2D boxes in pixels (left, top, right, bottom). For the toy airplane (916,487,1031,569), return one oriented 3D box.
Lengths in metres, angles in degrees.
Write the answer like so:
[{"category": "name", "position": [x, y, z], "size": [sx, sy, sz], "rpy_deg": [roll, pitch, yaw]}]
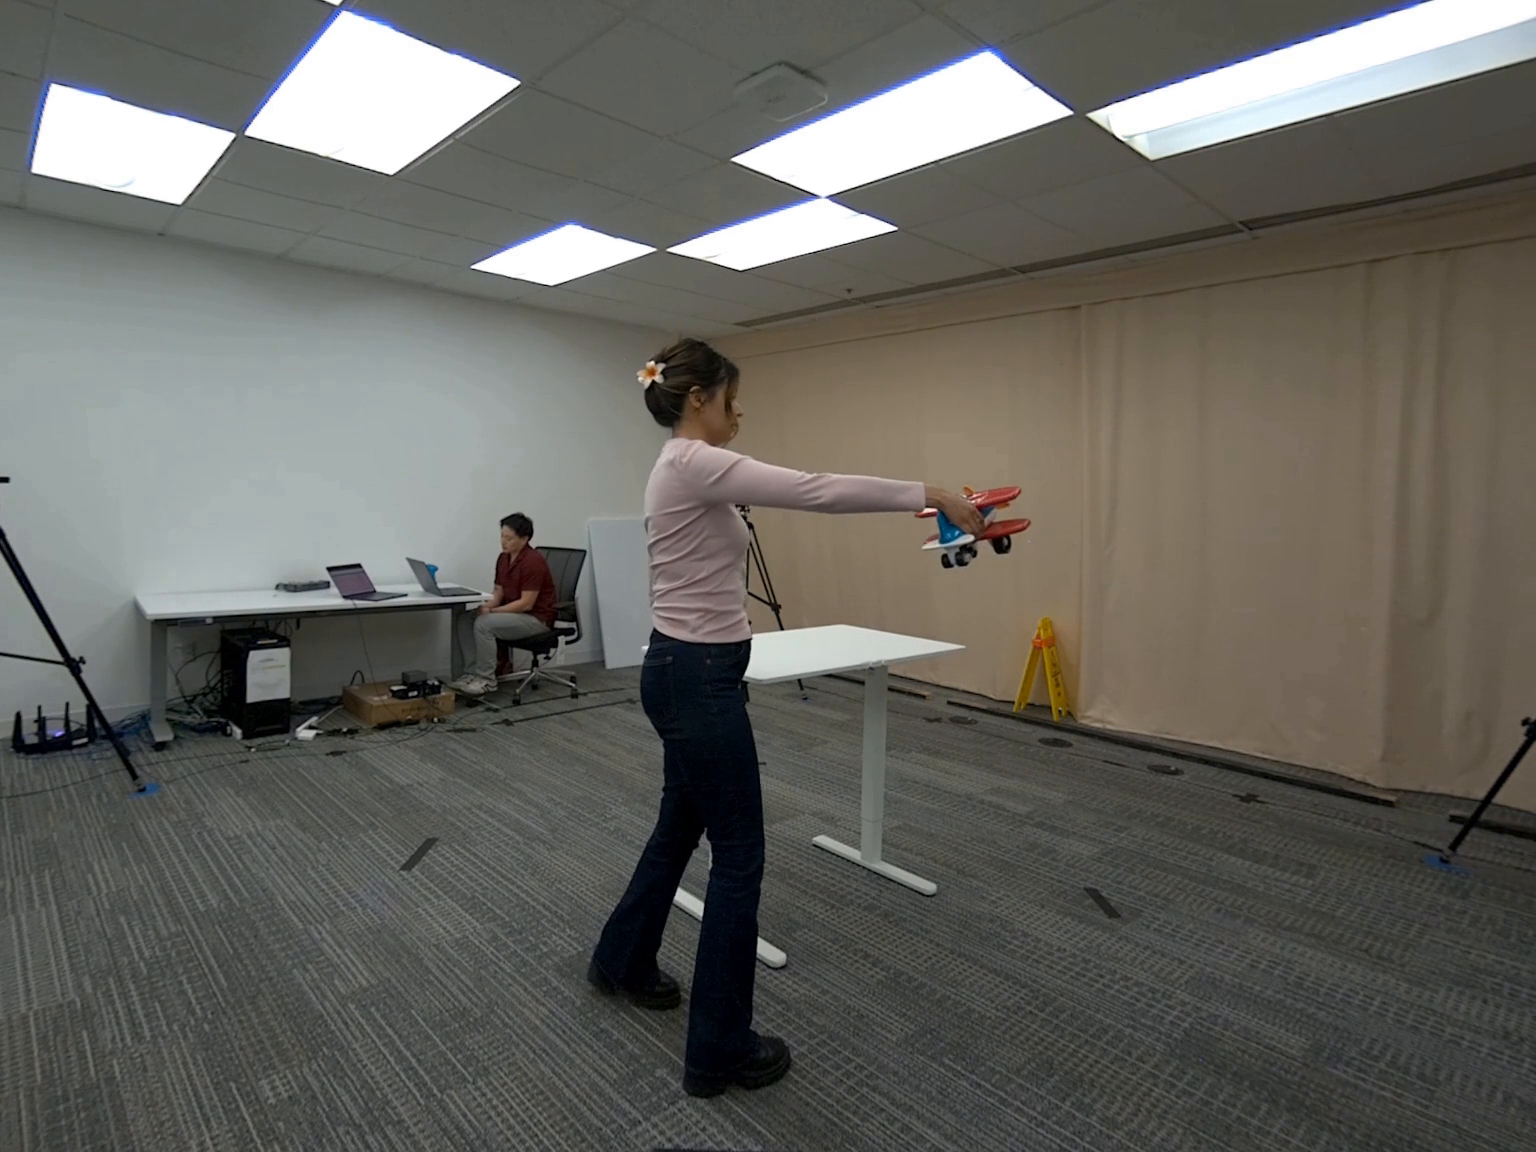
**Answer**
[{"category": "toy airplane", "position": [0.460, -0.113, 1.931], "size": [0.253, 0.156, 0.257], "rpy_deg": [-12, 1, 10]}]
